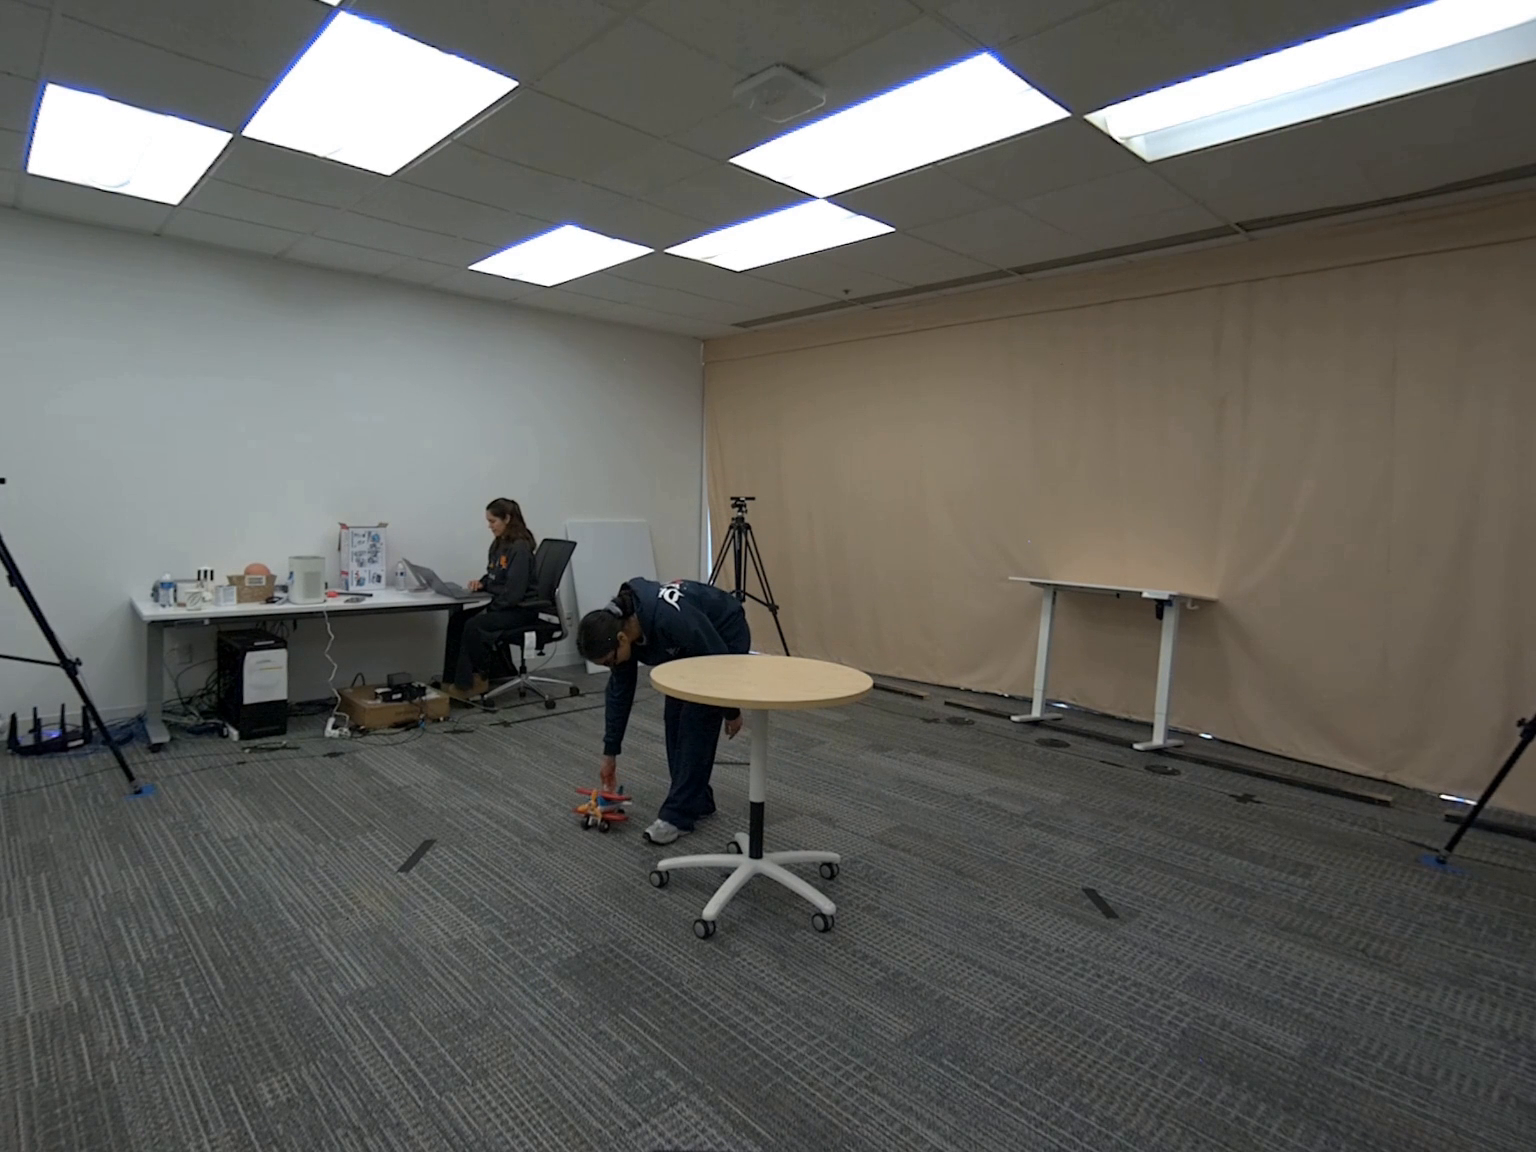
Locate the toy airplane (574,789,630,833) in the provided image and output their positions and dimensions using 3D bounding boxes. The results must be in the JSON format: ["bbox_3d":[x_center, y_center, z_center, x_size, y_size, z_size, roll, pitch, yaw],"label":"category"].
[{"bbox_3d":[-0.711,0.975,3.574,0.250,0.156,0.261,1,5,-6],"label":"toy airplane"}]
